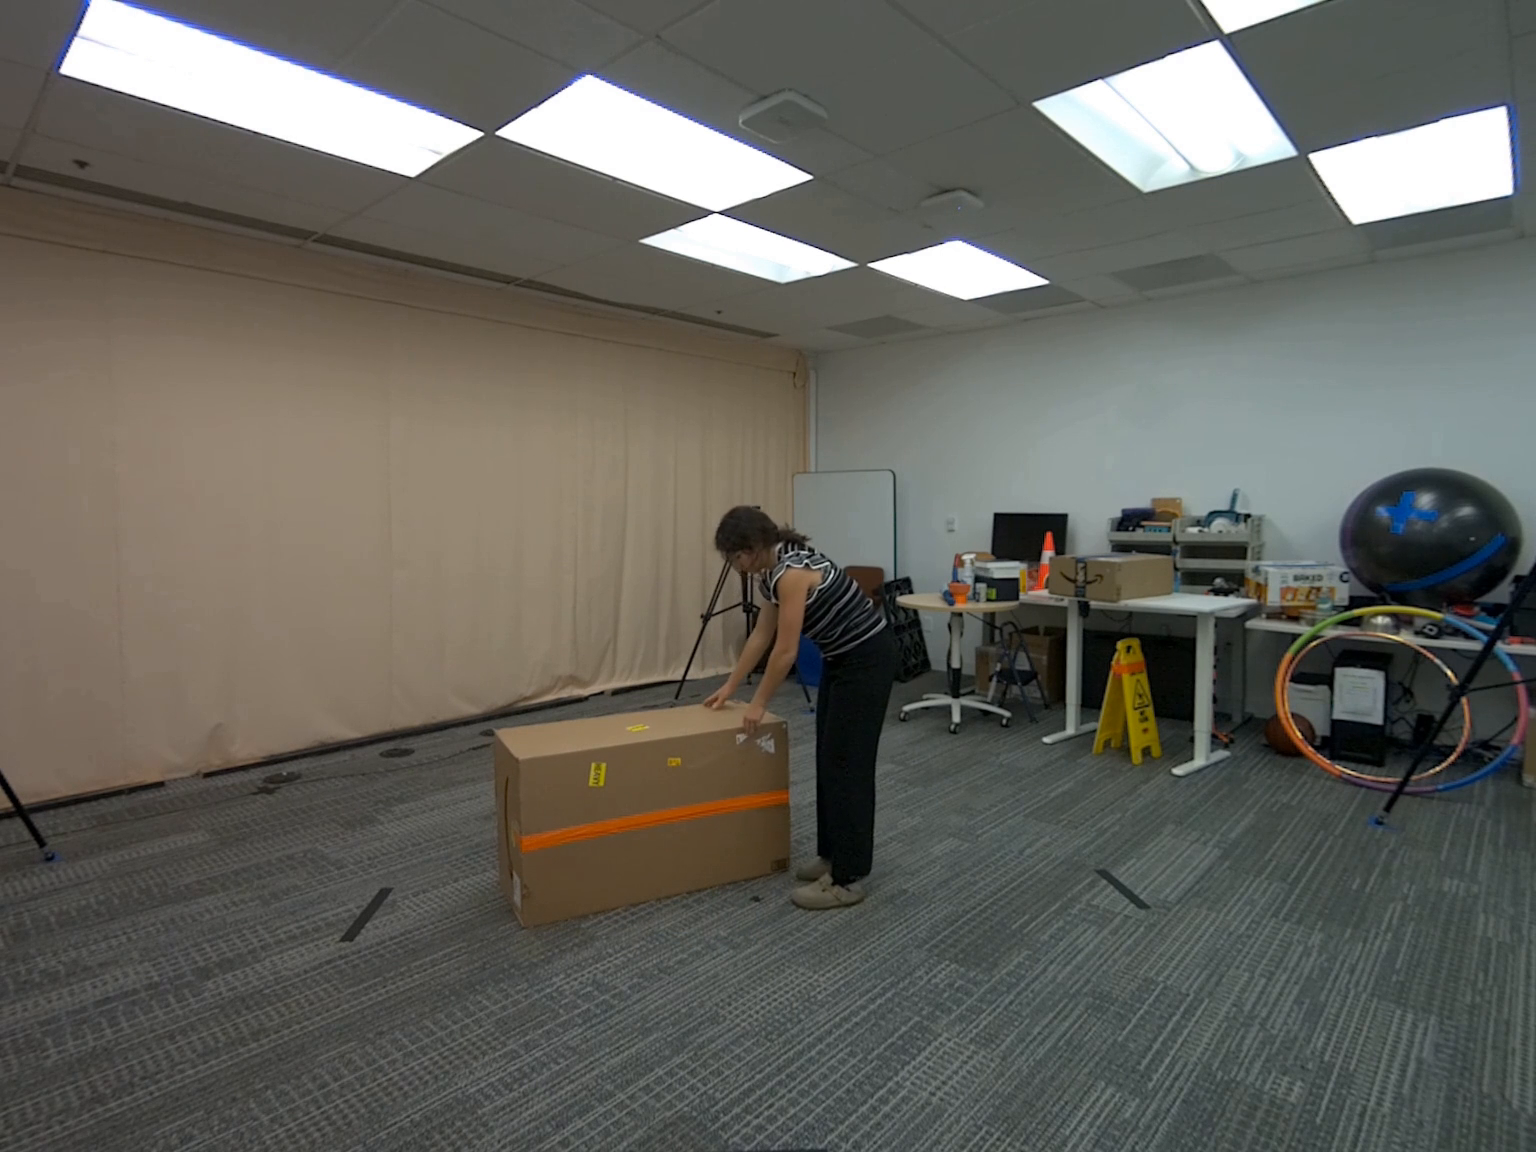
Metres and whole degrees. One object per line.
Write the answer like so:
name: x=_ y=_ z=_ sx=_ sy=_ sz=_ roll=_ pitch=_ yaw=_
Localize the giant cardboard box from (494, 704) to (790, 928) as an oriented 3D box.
giant cardboard box: x=-0.468 y=0.840 z=3.167 sx=1.001 sy=0.576 sz=0.437 roll=-3 pitch=4 yaw=-26
